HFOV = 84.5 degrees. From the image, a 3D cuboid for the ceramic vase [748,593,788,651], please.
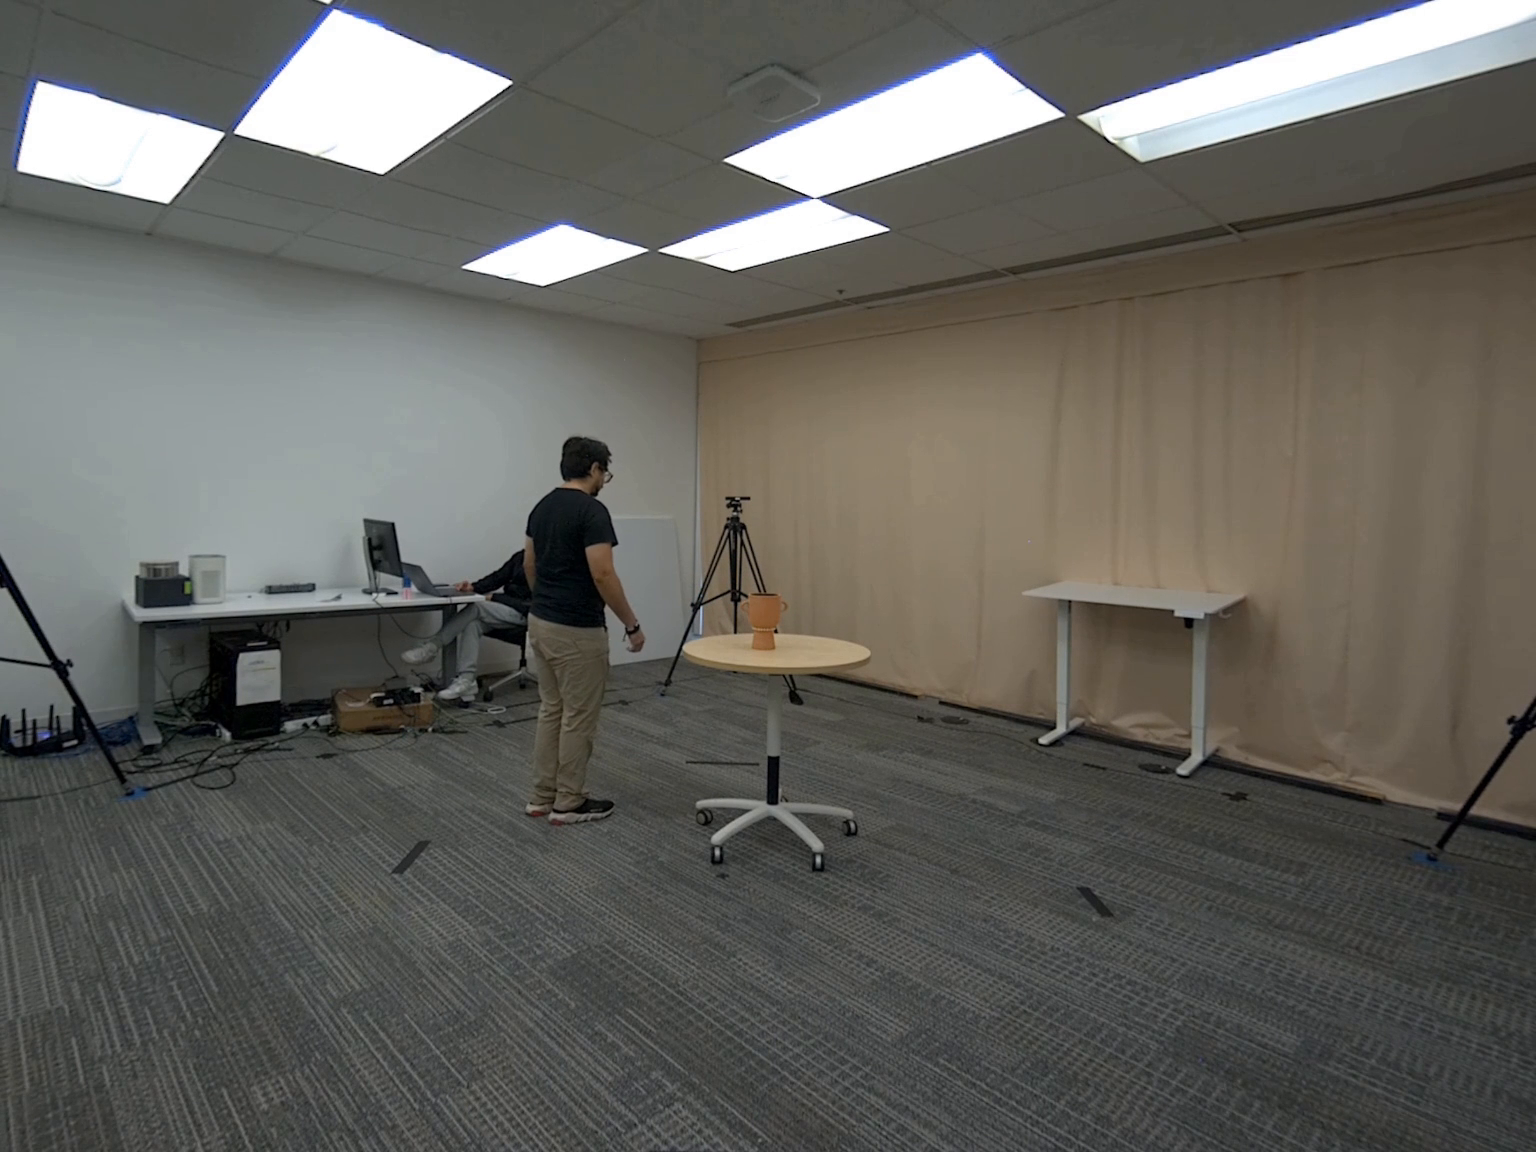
[{"bbox_3d":[-0.024,0.186,3.445,0.162,0.219,0.132,3,5,24],"label":"ceramic vase"}]
